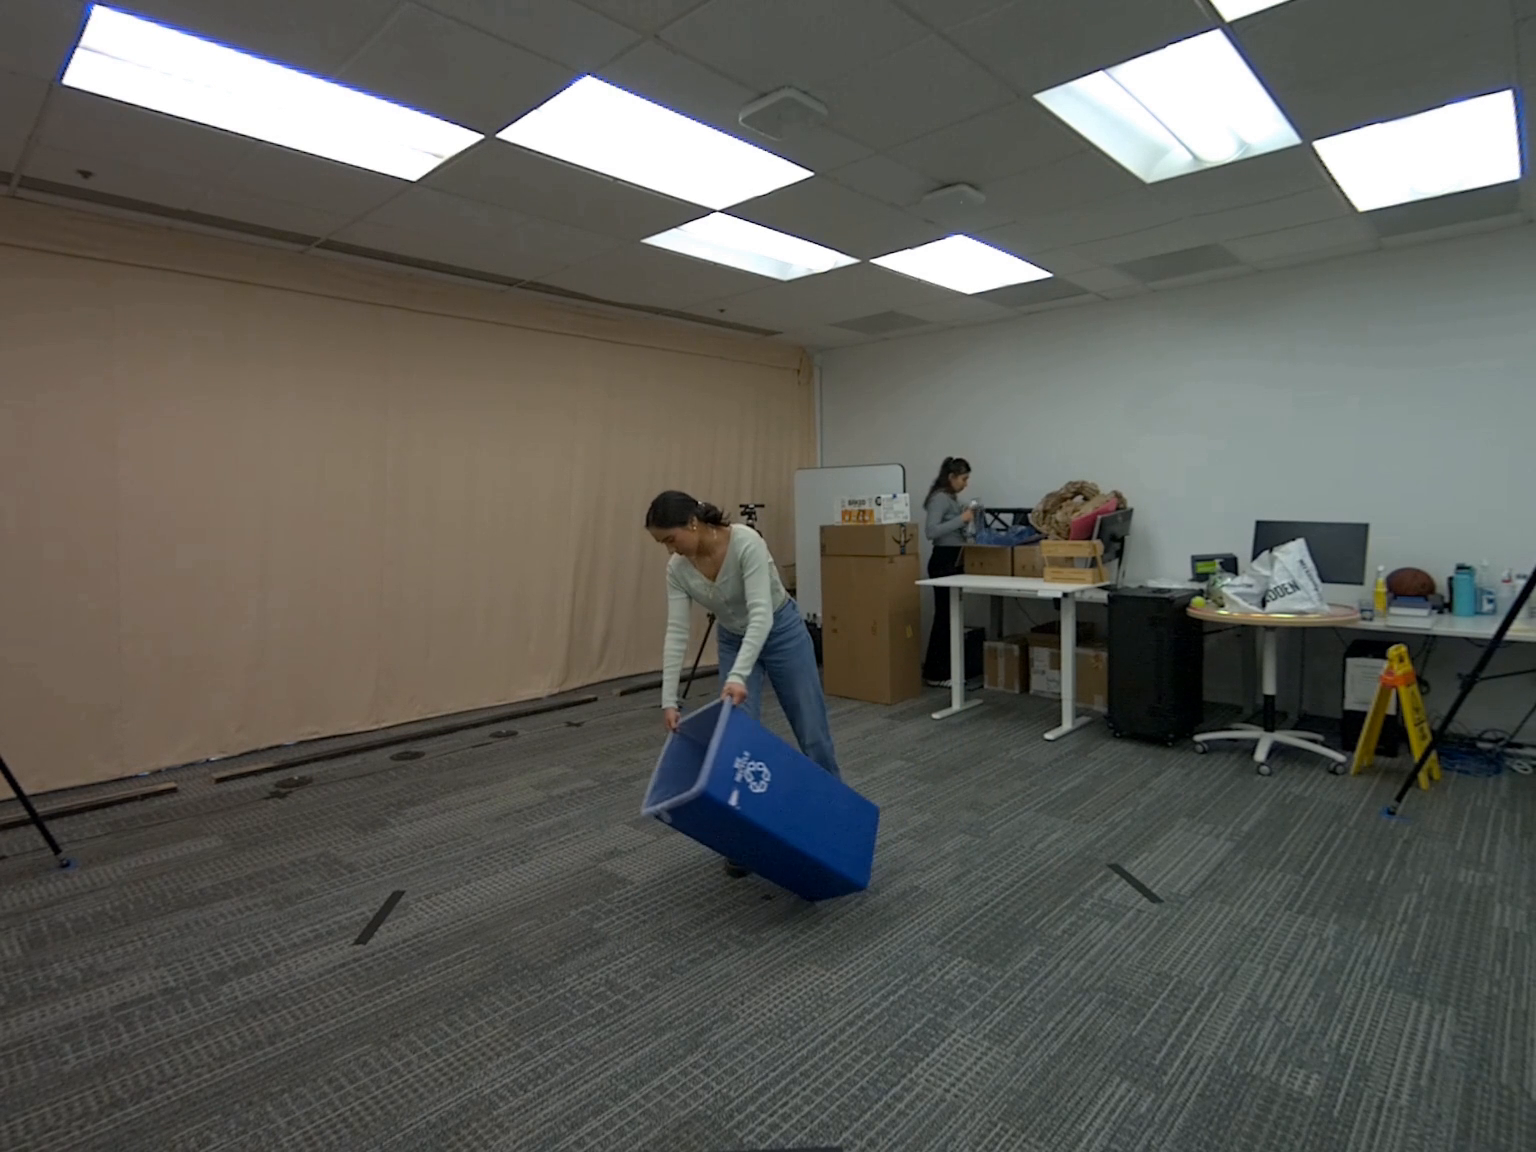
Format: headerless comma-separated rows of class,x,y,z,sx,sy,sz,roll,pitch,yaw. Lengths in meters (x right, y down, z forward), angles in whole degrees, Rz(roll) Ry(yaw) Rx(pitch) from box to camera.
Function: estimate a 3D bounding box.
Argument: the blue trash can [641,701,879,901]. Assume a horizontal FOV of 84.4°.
blue trash can,-0.002,0.776,2.870,0.700,0.376,0.383,36,-43,-17
